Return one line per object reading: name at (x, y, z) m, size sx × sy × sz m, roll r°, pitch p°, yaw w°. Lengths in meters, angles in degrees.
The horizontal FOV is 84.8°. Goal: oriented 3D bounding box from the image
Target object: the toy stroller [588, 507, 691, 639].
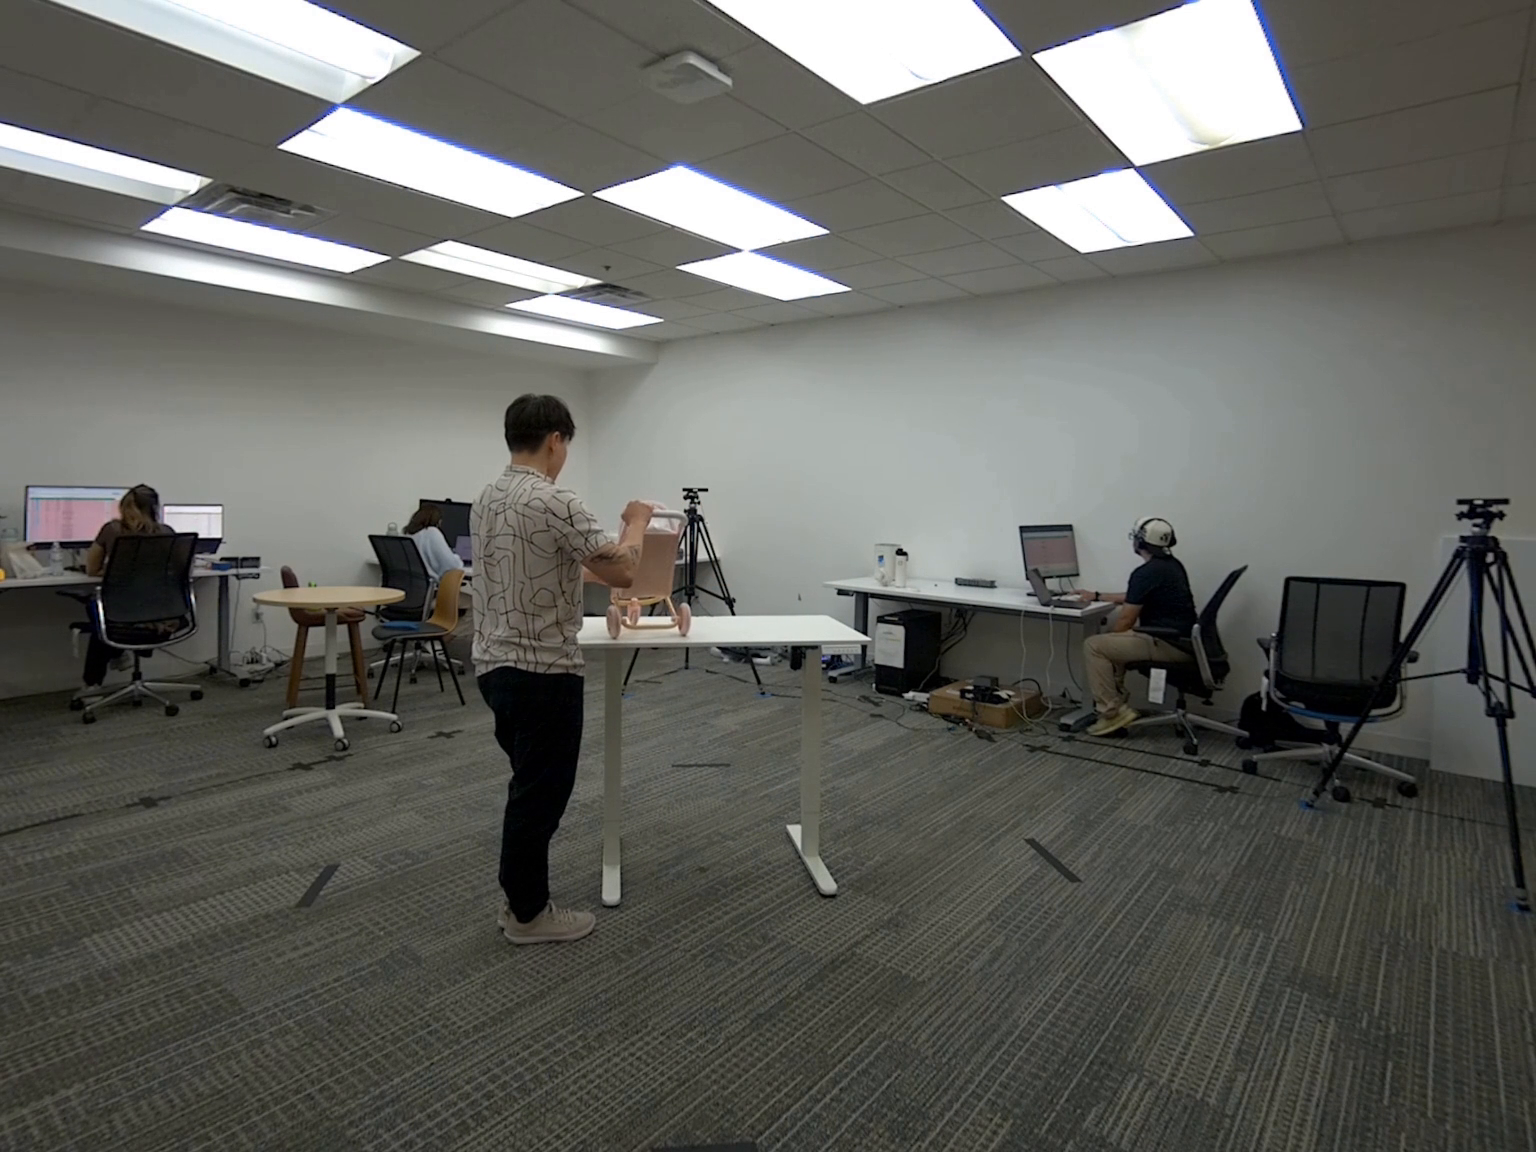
toy stroller at (-0.432, -0.024, 2.958) m, size 0.277 × 0.527 × 0.352 m, roll 1°, pitch 18°, yaw -16°
